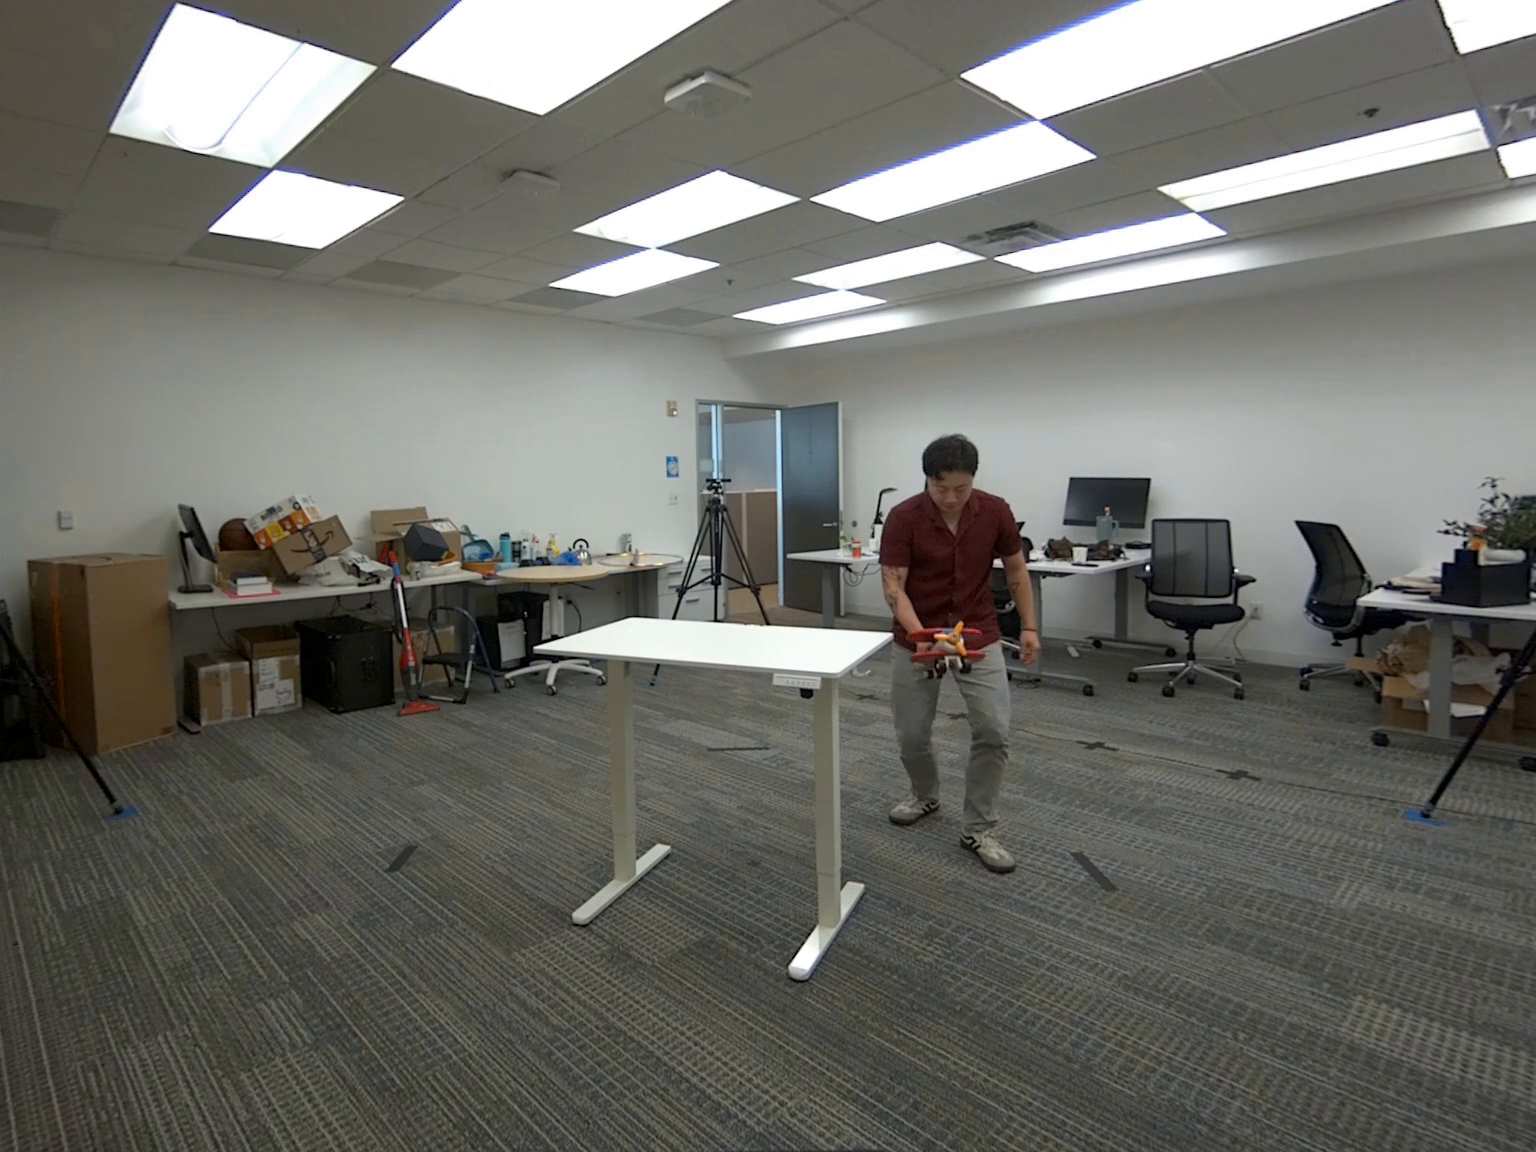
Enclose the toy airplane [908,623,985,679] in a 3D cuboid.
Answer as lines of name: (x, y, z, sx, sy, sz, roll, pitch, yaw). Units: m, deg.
toy airplane: (0.579, 0.266, 2.924, 0.244, 0.158, 0.263, 6, -14, -31)
